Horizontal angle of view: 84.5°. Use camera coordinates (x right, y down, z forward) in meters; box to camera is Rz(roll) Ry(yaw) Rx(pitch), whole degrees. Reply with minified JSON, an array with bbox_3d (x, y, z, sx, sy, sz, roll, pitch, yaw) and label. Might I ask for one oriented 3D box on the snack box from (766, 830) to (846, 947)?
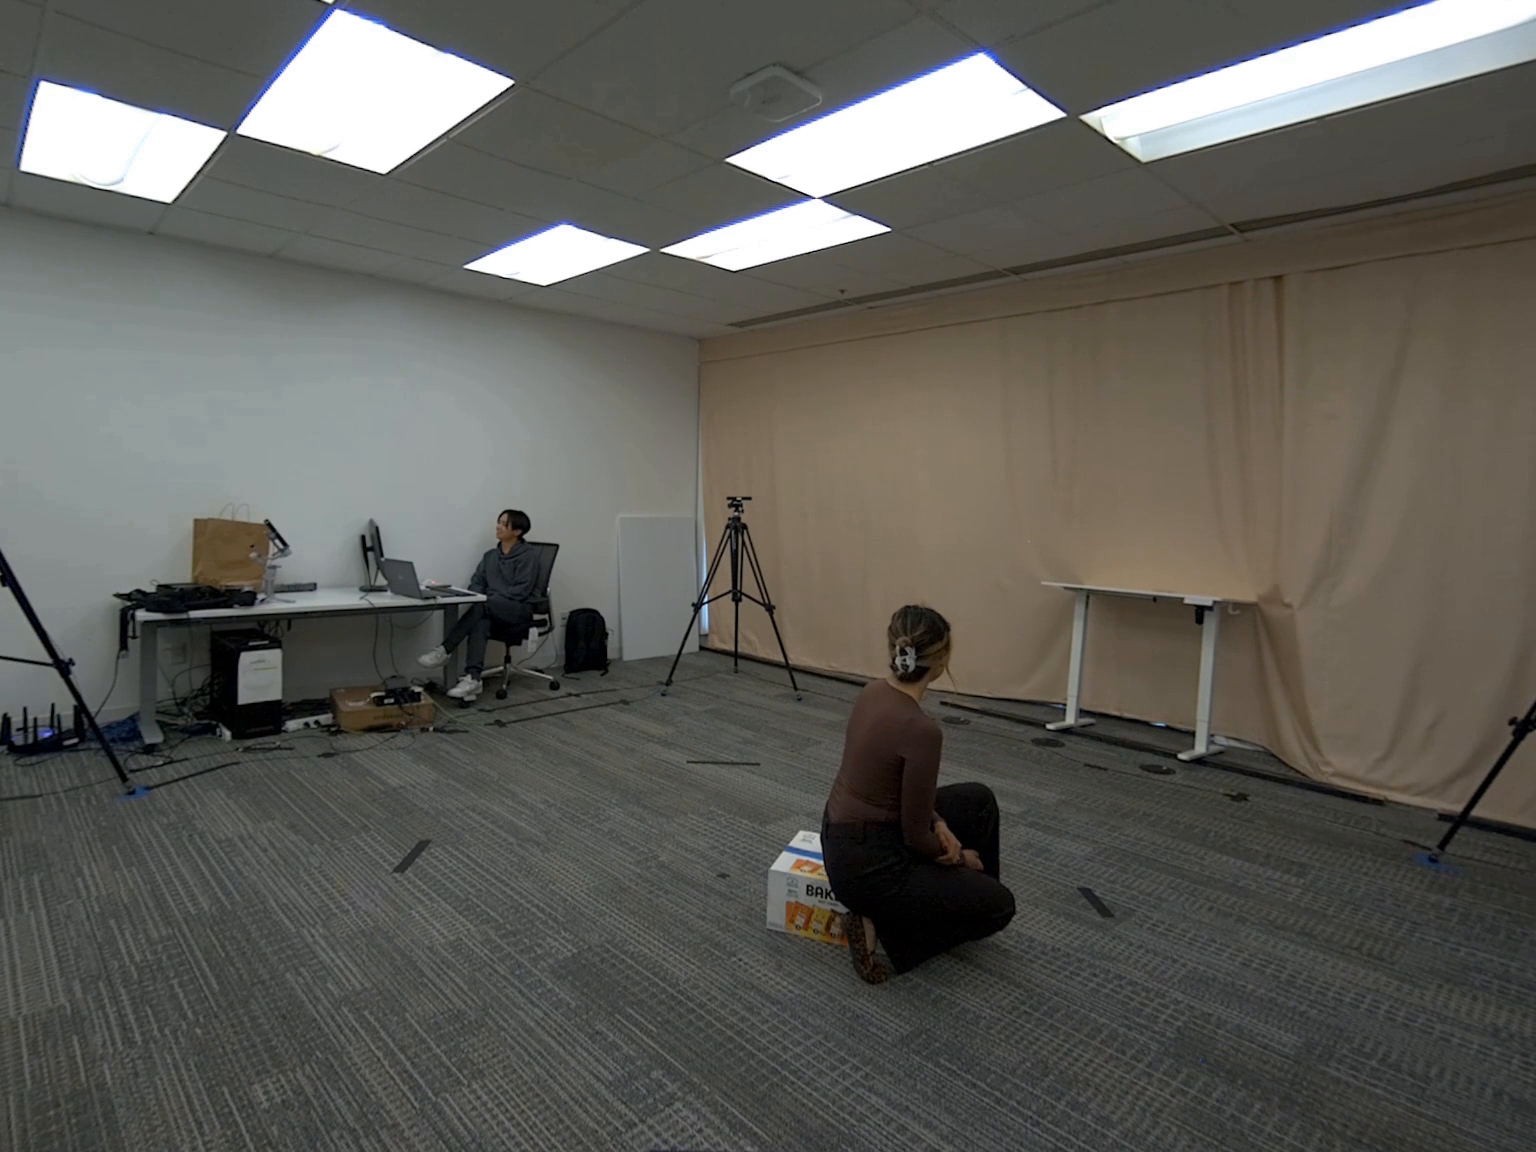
[{"bbox_3d":[0.242,1.044,2.800,0.412,0.205,0.336,4,6,20],"label":"snack box"}]
